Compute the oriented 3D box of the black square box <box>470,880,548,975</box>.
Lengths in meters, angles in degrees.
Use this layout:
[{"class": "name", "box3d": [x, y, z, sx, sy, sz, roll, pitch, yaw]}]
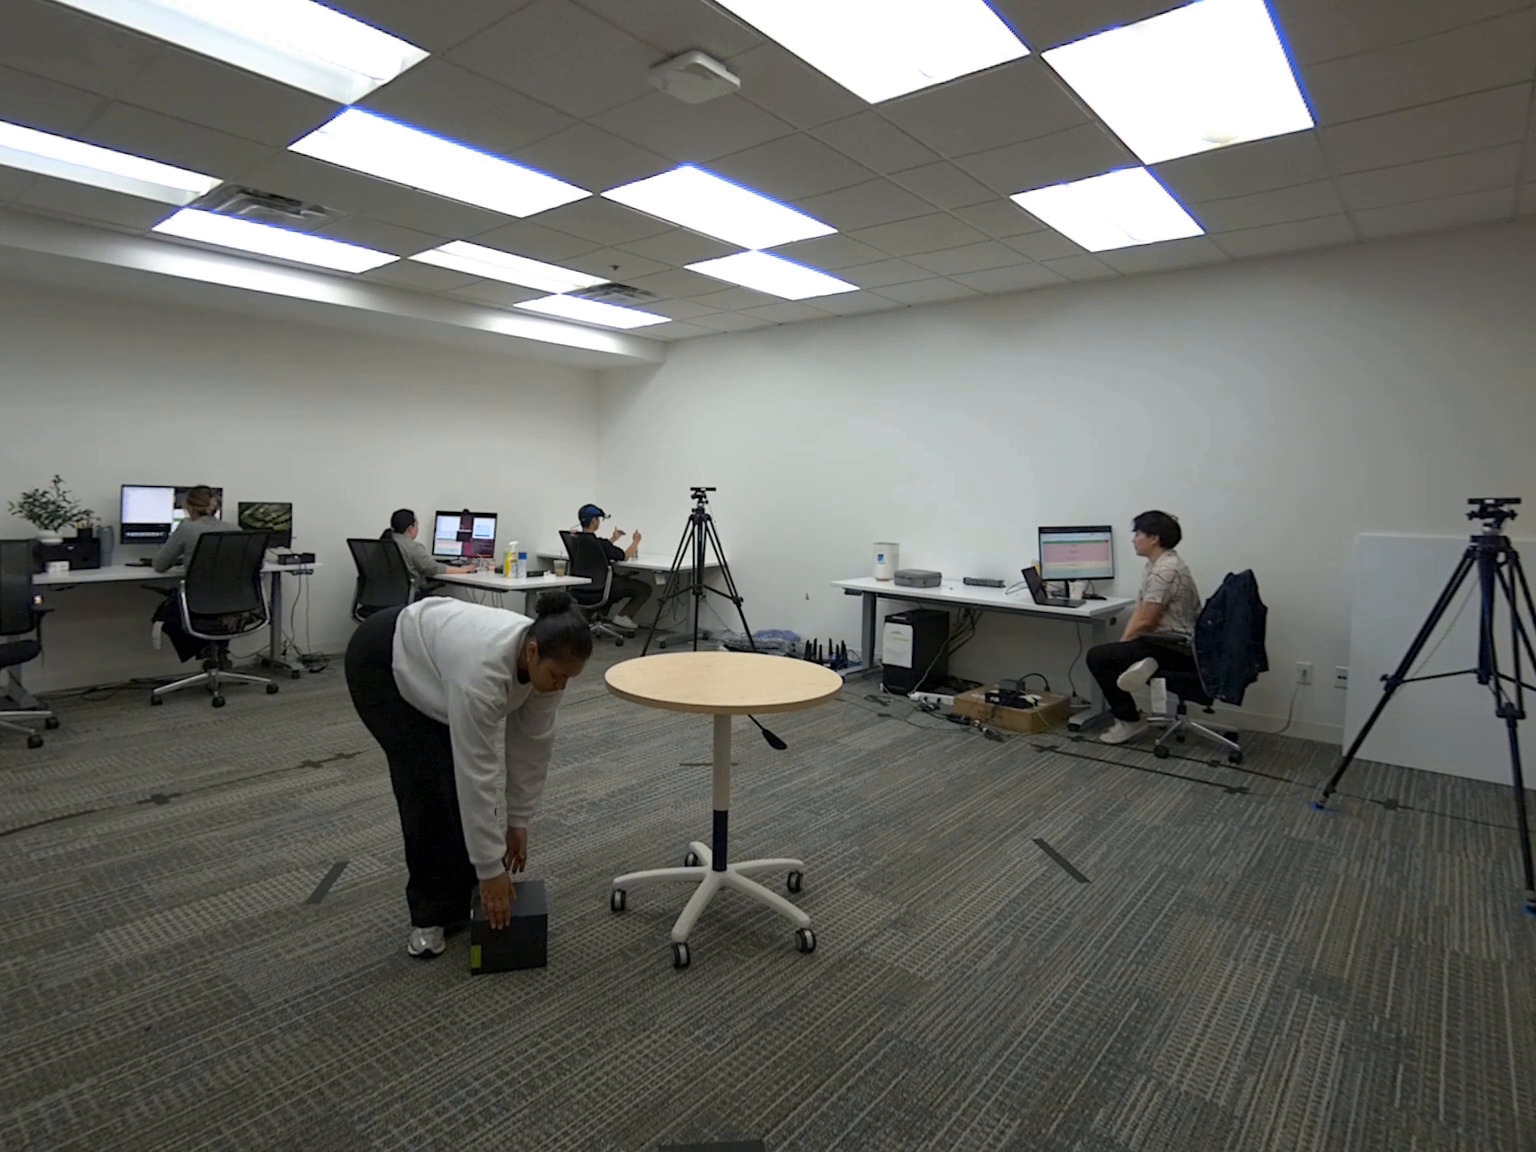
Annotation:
[{"class": "black square box", "box3d": [-0.779, 1.030, 2.527, 0.213, 0.155, 0.232, 0, 5, -16]}]
